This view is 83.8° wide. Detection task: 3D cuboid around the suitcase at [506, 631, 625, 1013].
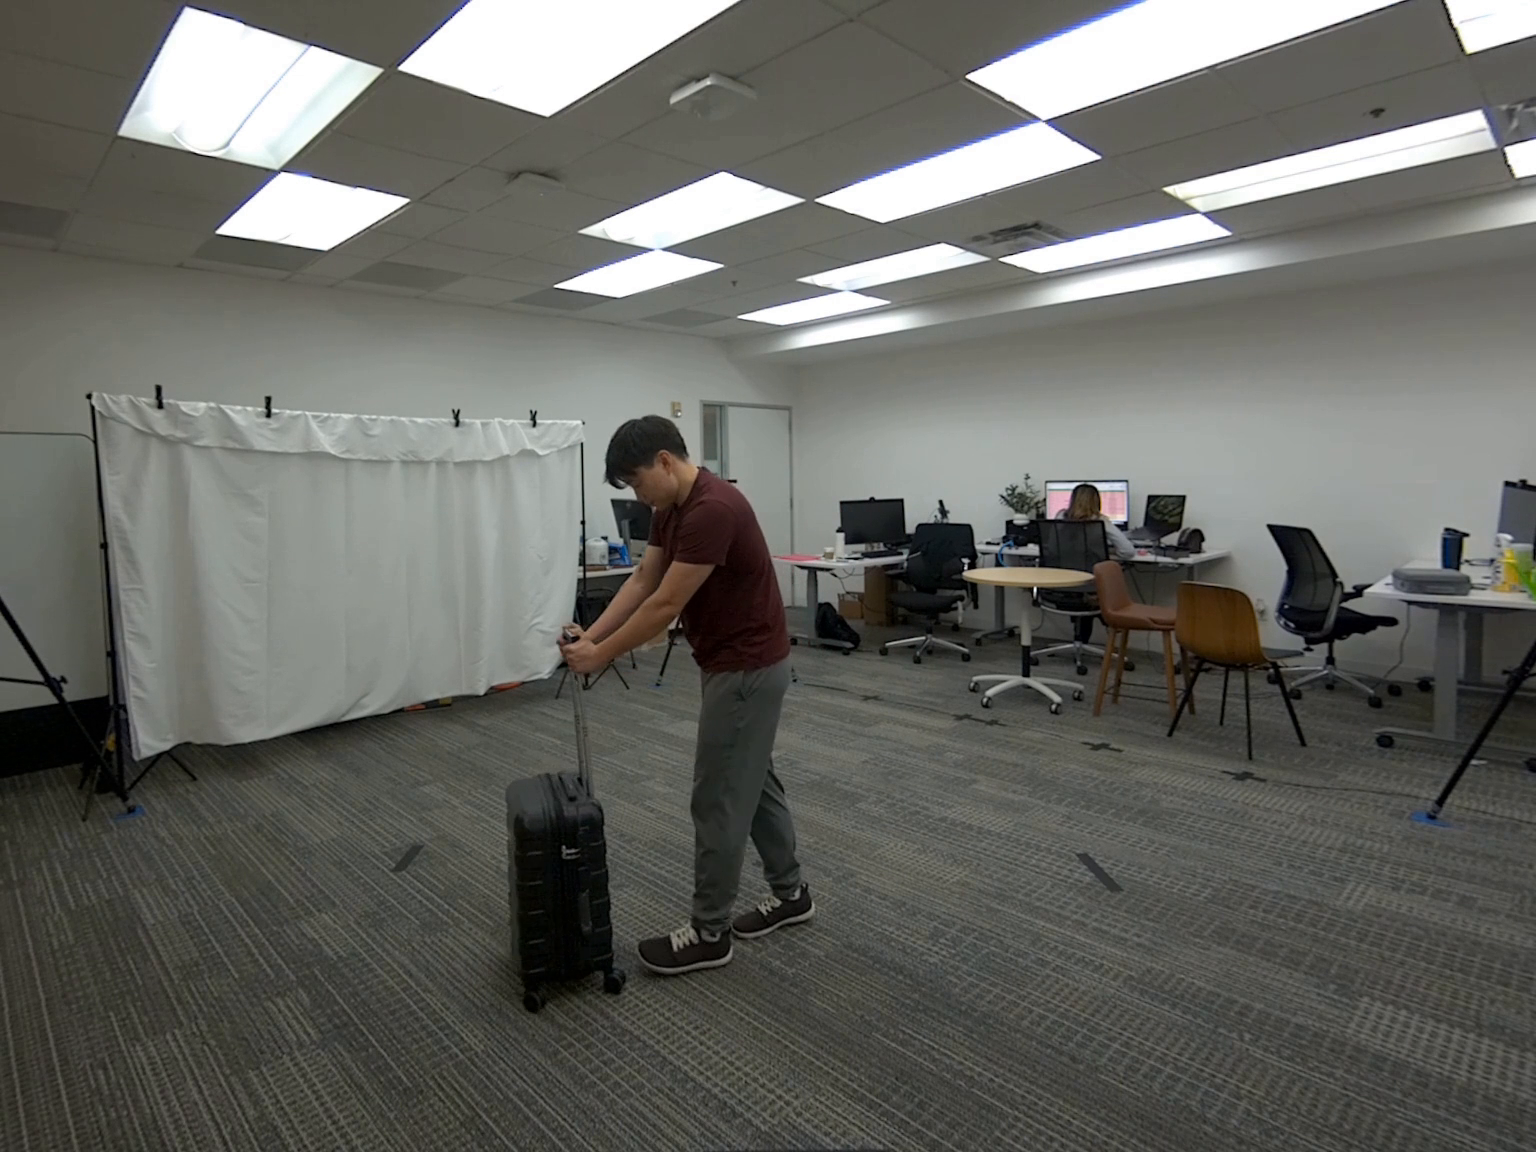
[{"bbox_3d":[-0.612,0.659,2.427,0.253,0.975,0.392,-6,4,-21],"label":"suitcase"}]
